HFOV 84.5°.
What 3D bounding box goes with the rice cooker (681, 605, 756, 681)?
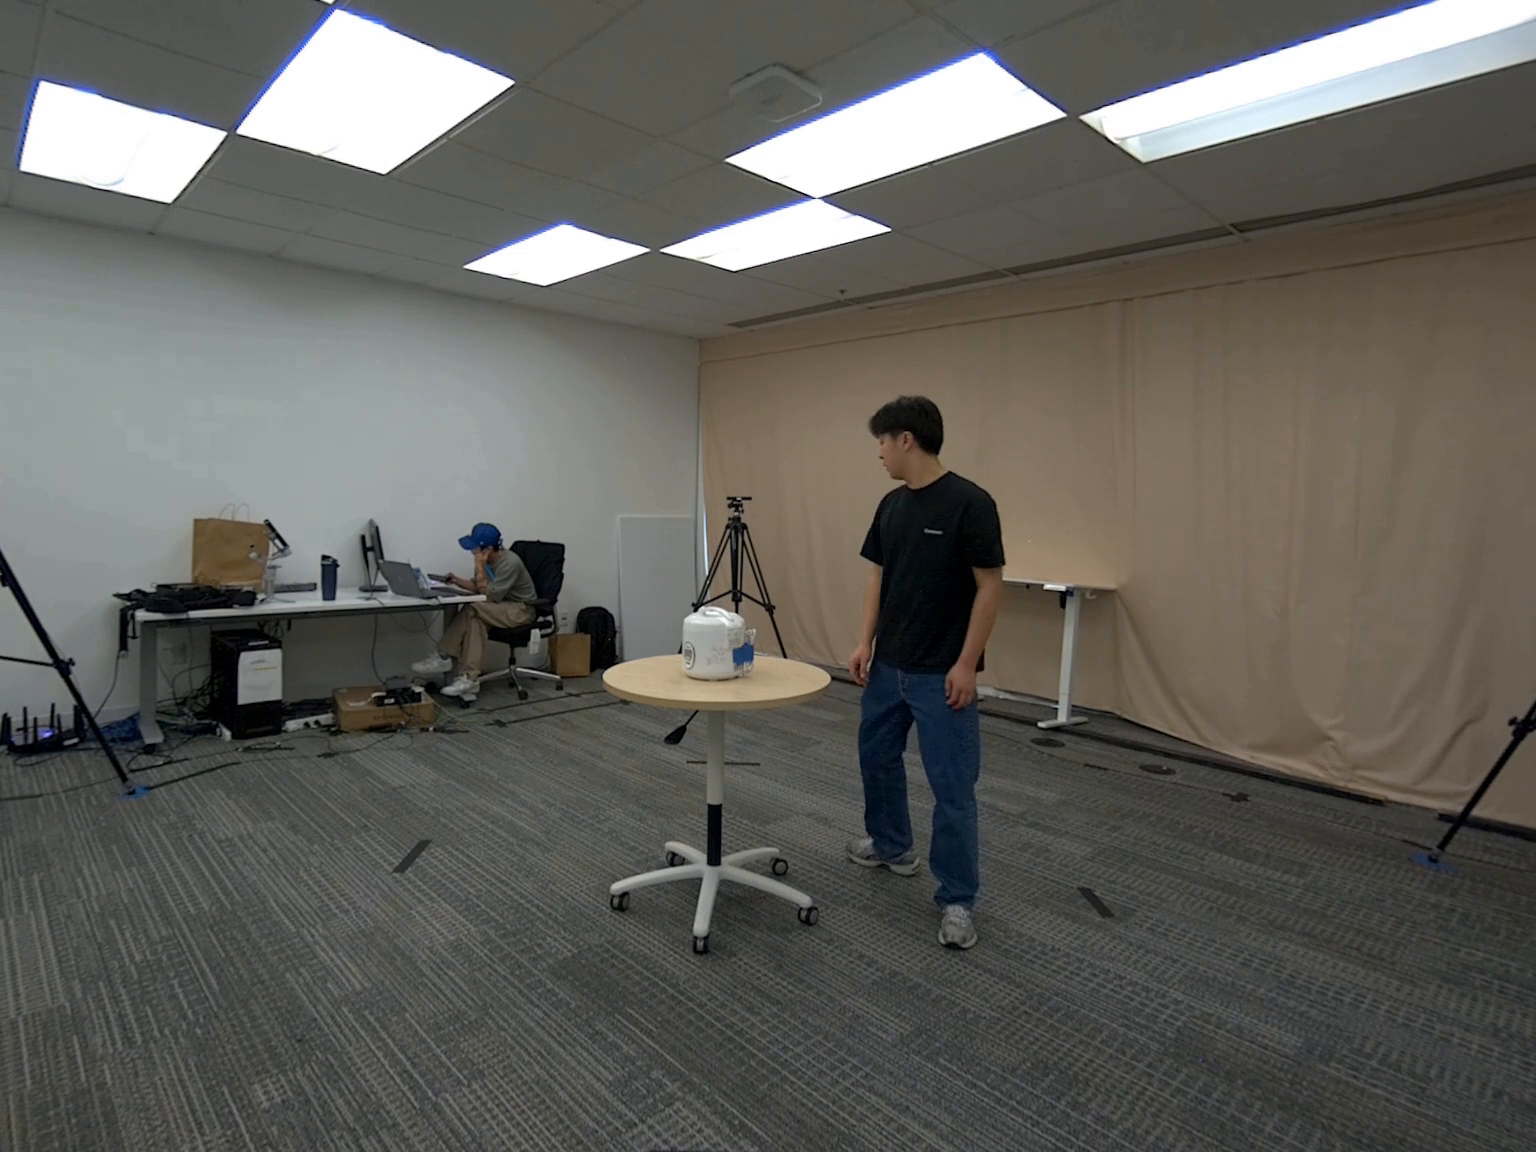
[{"bbox_3d":[-0.183,0.218,2.824,0.212,0.232,0.226,-1,3,-42],"label":"rice cooker"}]
